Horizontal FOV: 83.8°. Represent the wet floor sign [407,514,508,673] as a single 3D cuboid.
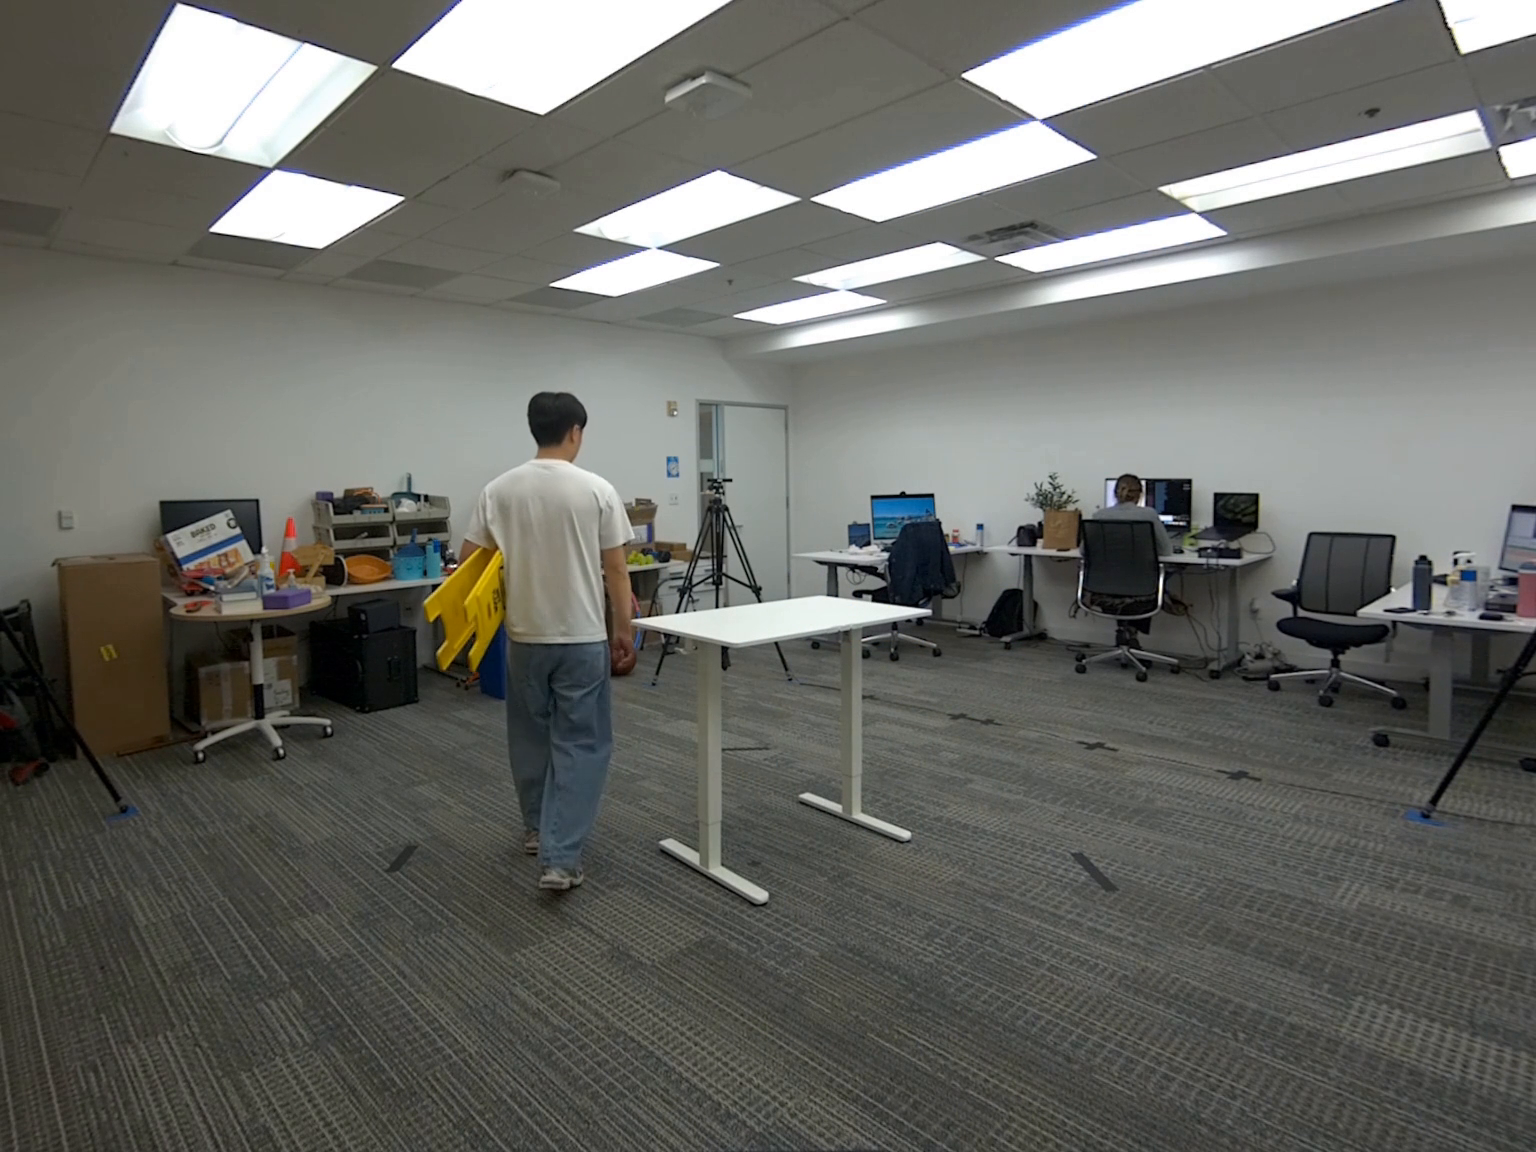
[{"bbox_3d":[-0.971,0.016,3.047,0.292,0.275,0.658,1,33,6],"label":"wet floor sign"}]
